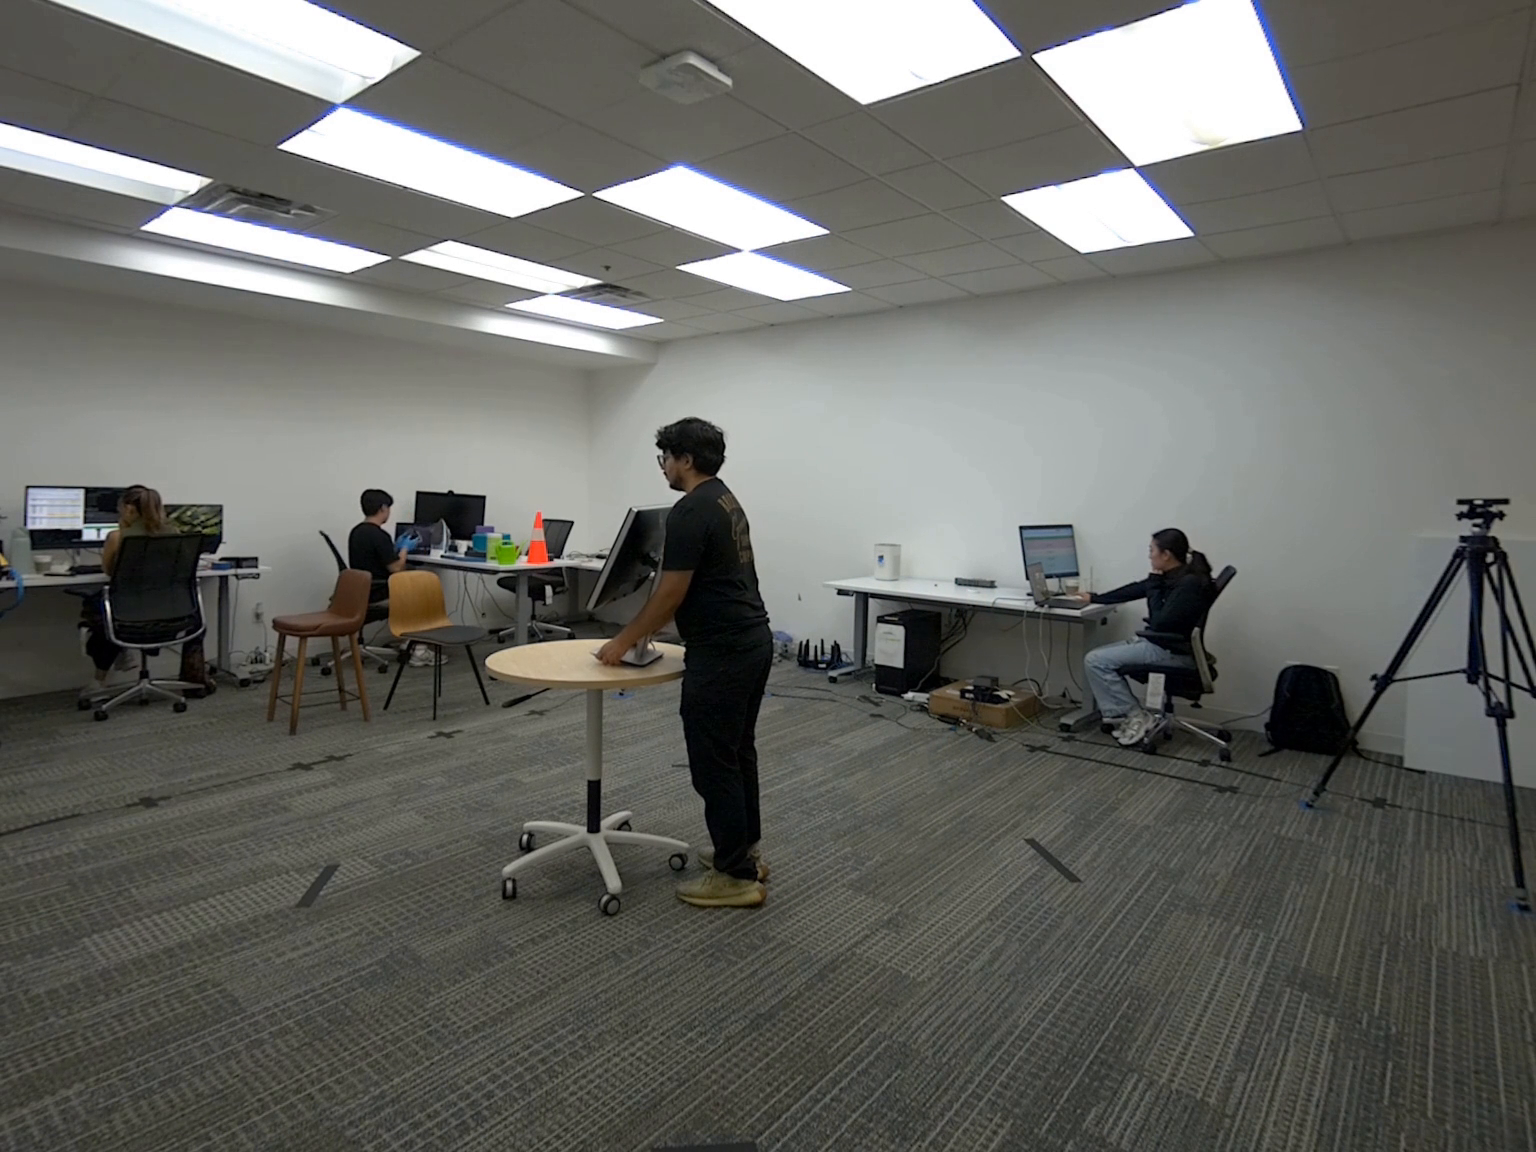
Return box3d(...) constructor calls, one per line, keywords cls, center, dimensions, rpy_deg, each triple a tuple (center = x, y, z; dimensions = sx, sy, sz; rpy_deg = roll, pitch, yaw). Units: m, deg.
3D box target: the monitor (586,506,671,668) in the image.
box3d(cls="monitor", center=(-0.437, 0.023, 3.002), dimensions=(0.212, 0.552, 0.561), rpy_deg=(18, 7, 7))
